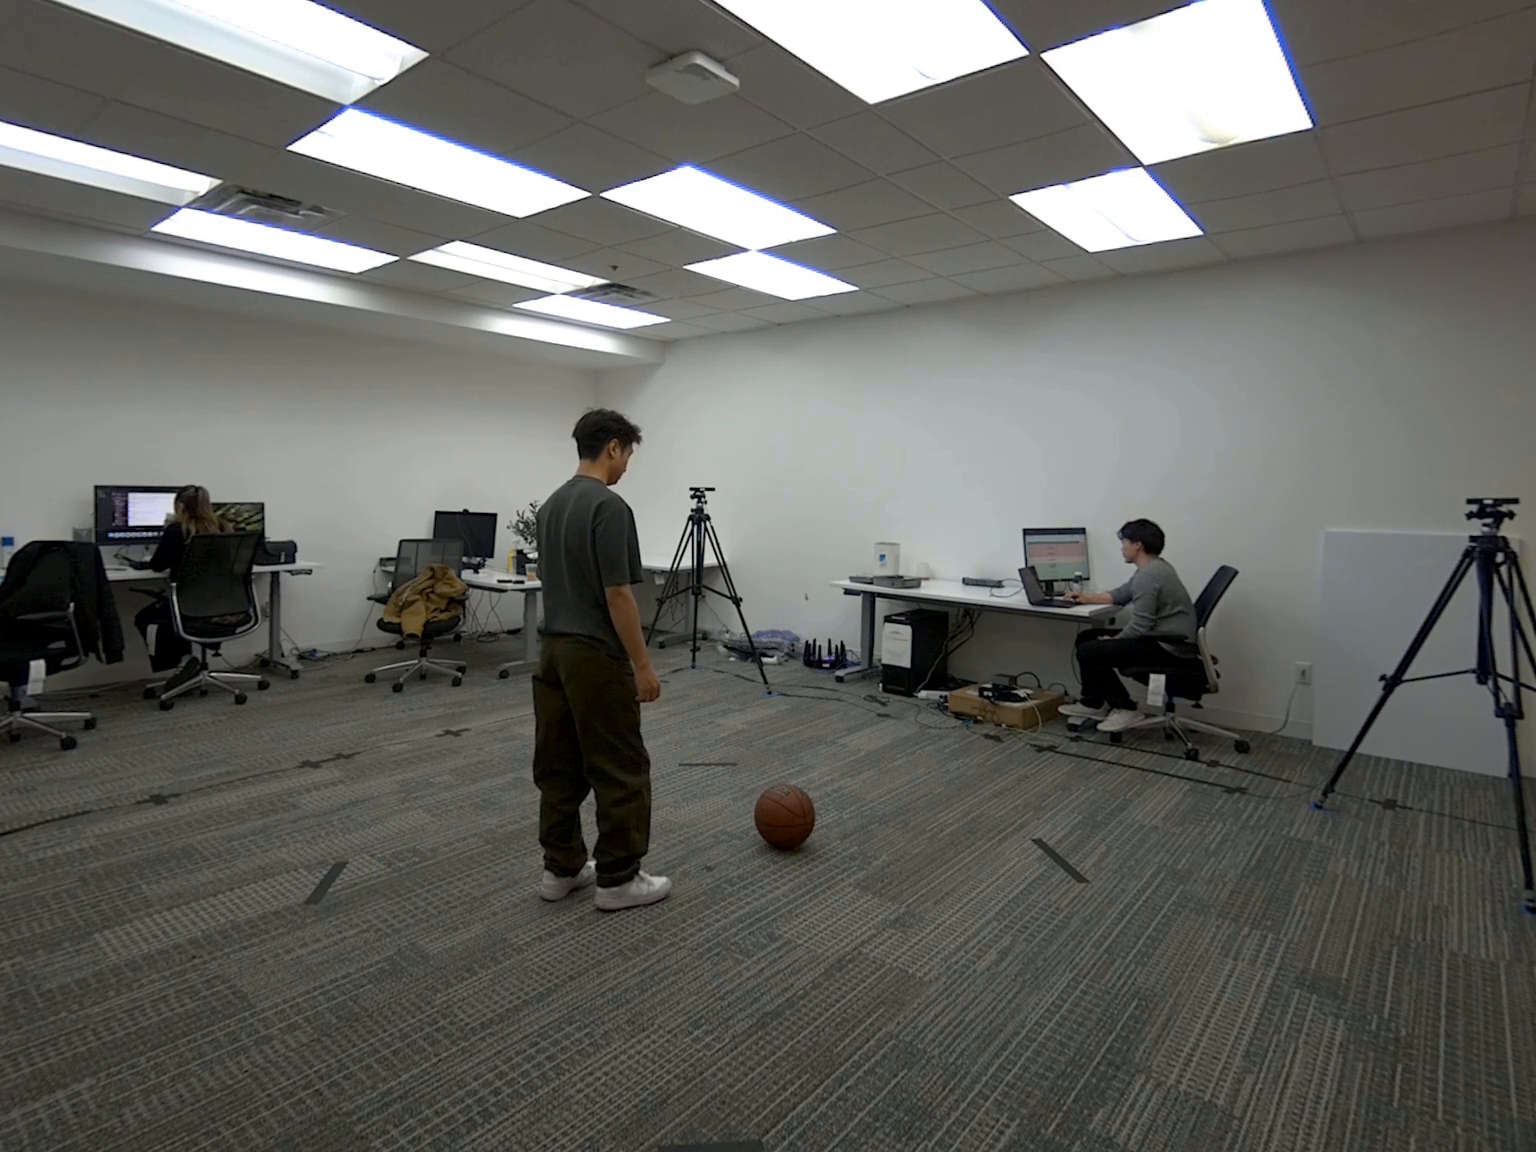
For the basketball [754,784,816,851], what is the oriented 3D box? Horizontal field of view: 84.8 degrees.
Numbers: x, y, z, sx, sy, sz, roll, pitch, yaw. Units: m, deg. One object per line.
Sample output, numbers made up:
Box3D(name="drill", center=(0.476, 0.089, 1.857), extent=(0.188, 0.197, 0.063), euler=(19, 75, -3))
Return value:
Box3D(name="basketball", center=(0.051, 0.927, 3.317), extent=(0.235, 0.235, 0.237), euler=(1, 4, -2))
